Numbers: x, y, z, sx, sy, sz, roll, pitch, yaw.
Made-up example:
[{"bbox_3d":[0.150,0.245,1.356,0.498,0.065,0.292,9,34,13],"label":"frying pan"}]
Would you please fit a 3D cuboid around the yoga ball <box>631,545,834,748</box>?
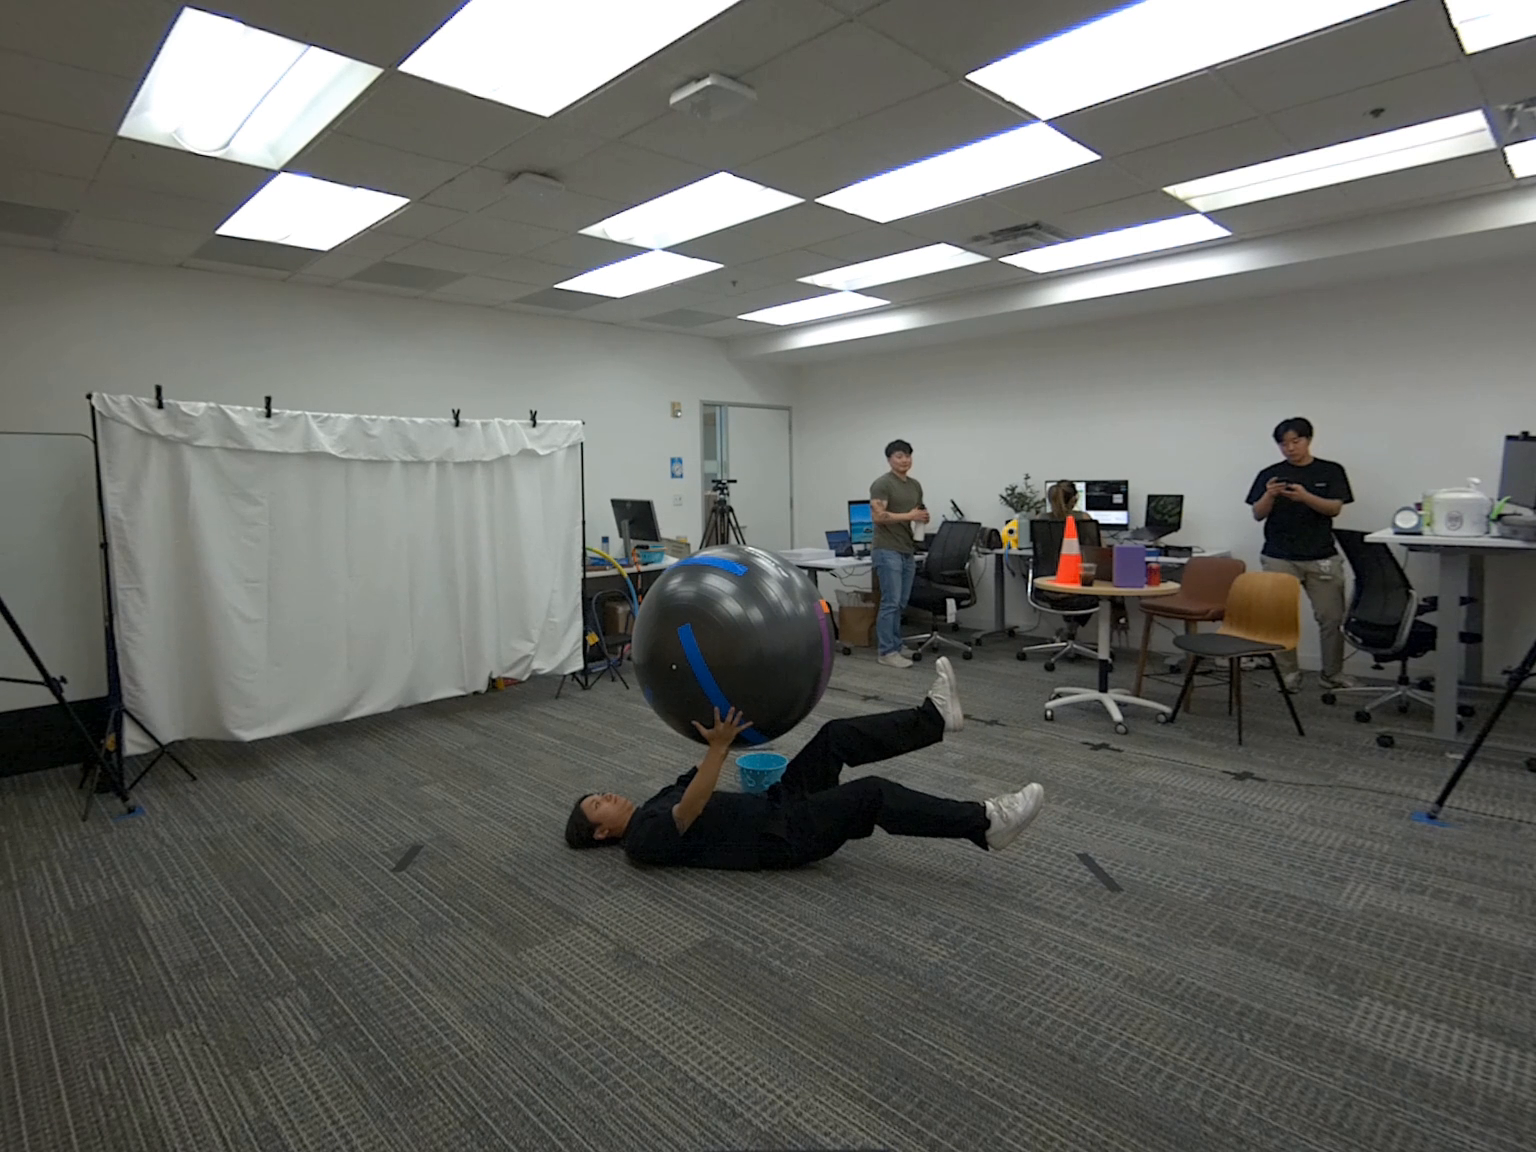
[{"bbox_3d":[-0.137,0.268,3.210,0.757,0.755,0.762,-1,5,-2],"label":"yoga ball"}]
